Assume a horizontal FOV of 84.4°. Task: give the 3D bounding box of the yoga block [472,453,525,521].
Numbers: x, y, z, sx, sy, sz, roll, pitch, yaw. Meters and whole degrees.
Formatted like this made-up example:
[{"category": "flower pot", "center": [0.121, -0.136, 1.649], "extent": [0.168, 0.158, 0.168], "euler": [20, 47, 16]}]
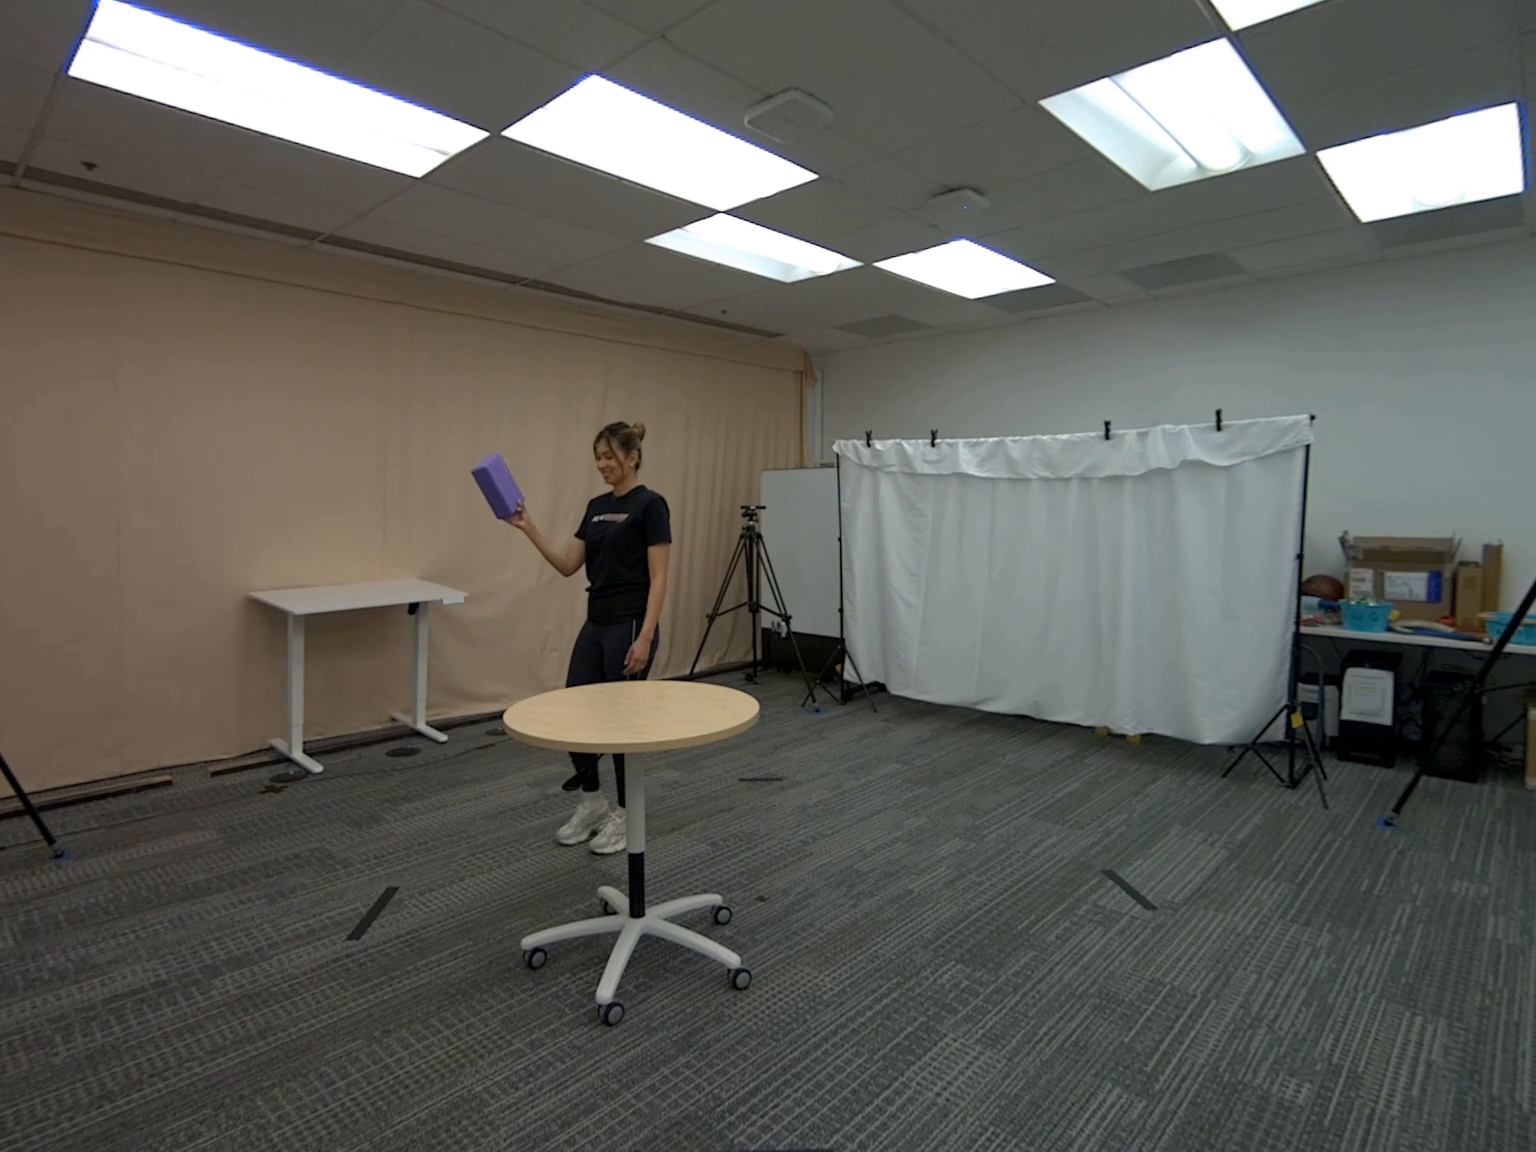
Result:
[{"category": "yoga block", "center": [-1.083, -0.361, 3.383], "extent": [0.077, 0.224, 0.150], "euler": [-15, 24, 17]}]
